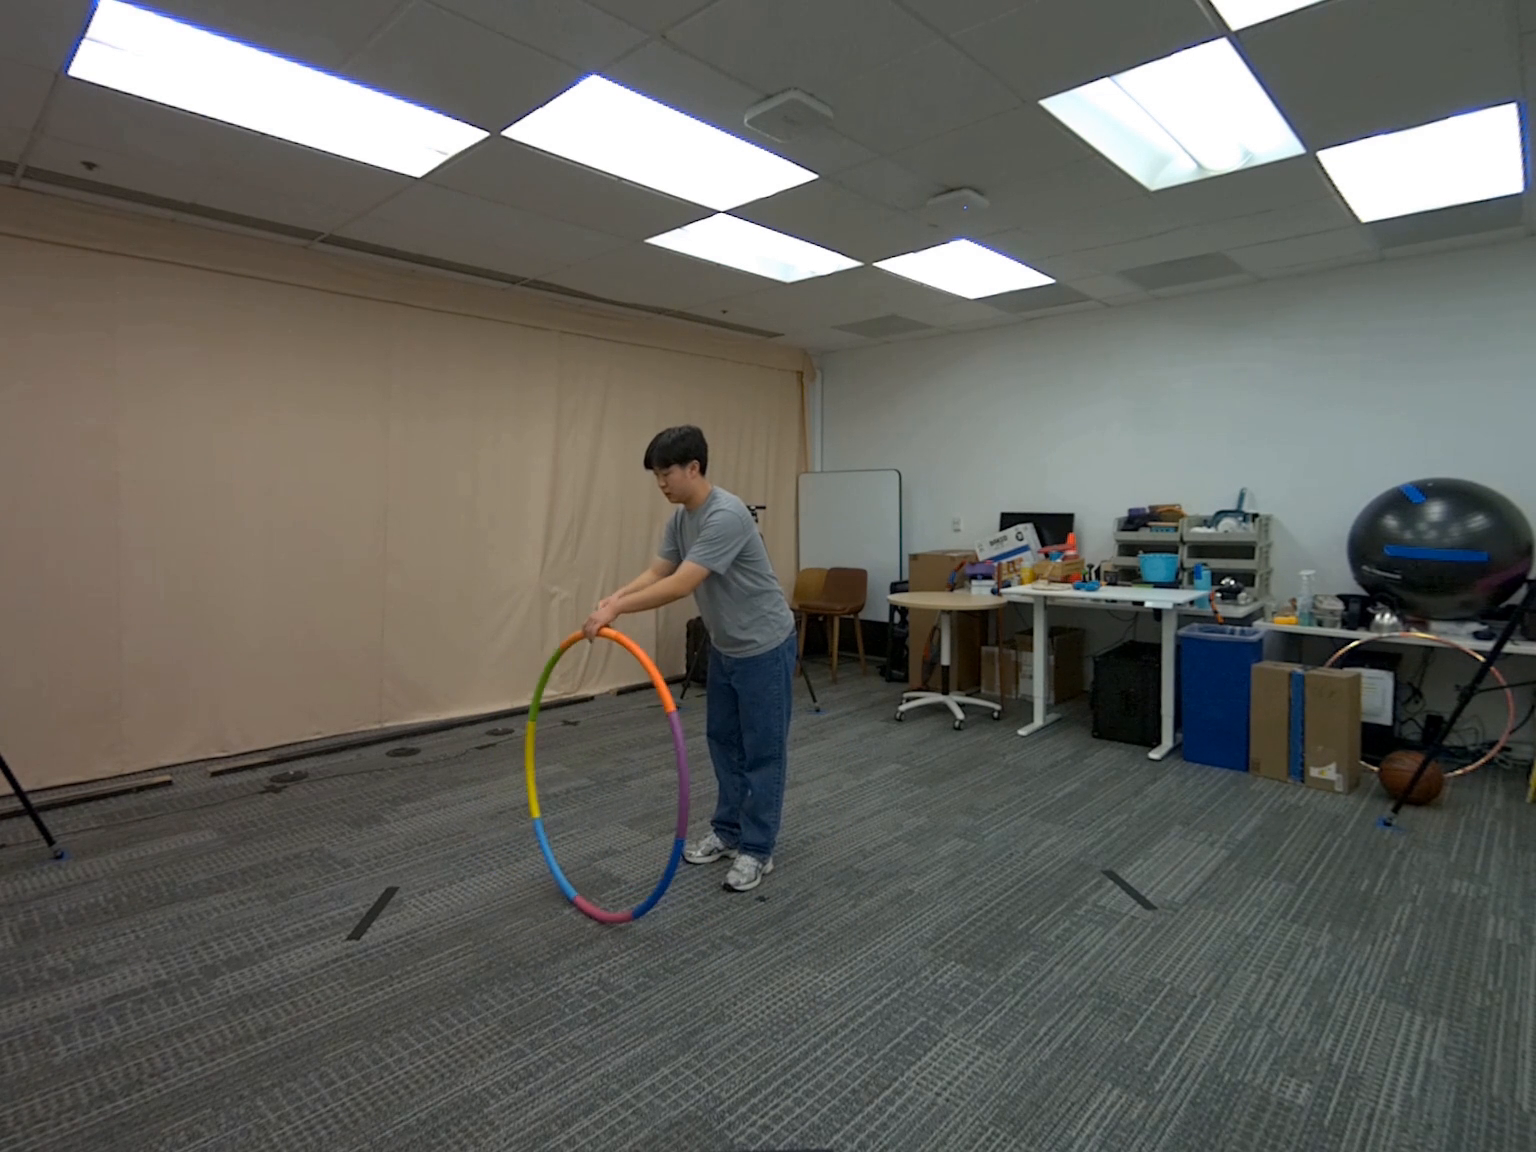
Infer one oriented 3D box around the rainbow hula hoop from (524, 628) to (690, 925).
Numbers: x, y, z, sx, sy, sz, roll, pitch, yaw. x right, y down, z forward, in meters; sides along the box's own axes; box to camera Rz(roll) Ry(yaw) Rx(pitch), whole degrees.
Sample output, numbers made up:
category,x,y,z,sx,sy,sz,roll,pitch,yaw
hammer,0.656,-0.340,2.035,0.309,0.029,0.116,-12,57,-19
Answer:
category,x,y,z,sx,sy,sz,roll,pitch,yaw
rainbow hula hoop,-0.585,0.668,2.889,0.034,0.979,1.011,6,-1,-42
